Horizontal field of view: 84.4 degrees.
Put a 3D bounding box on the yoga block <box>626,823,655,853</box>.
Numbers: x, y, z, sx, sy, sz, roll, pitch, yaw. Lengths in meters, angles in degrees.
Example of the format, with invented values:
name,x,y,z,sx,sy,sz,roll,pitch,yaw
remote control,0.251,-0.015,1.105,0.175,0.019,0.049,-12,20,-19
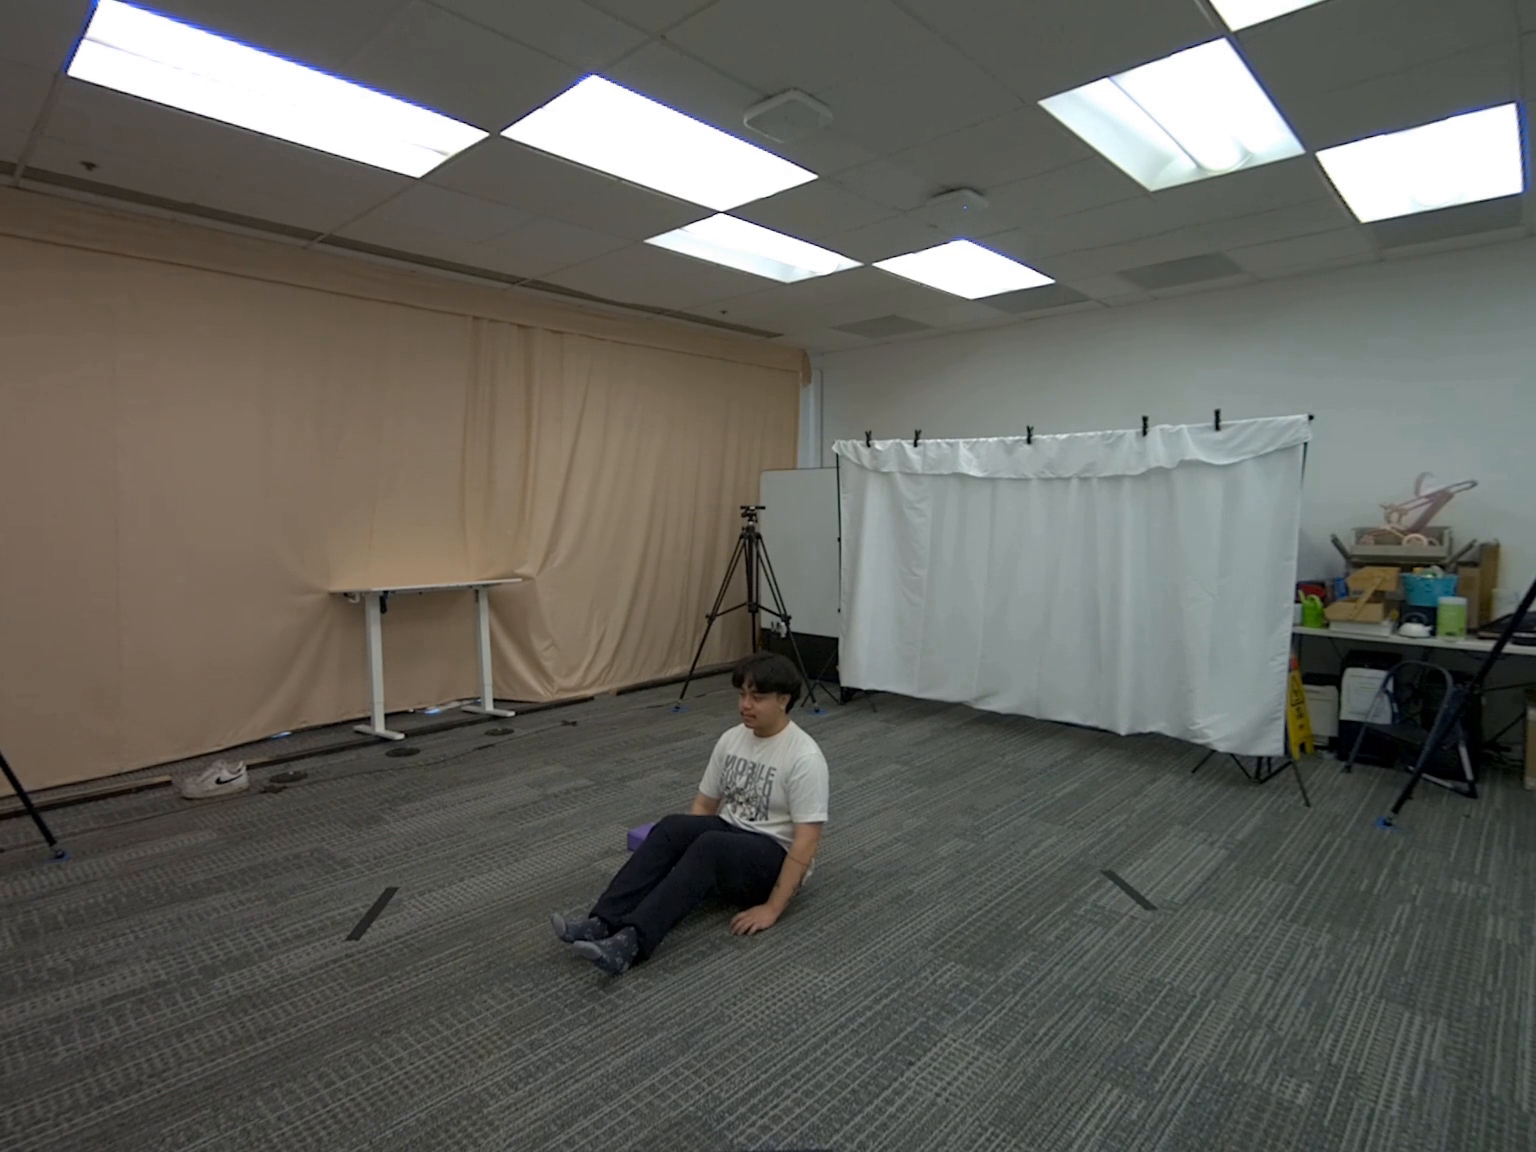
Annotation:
name,x,y,z,sx,sy,sz,roll,pitch,yaw
yoga block,-0.442,1.071,3.397,0.237,0.076,0.144,3,6,42
